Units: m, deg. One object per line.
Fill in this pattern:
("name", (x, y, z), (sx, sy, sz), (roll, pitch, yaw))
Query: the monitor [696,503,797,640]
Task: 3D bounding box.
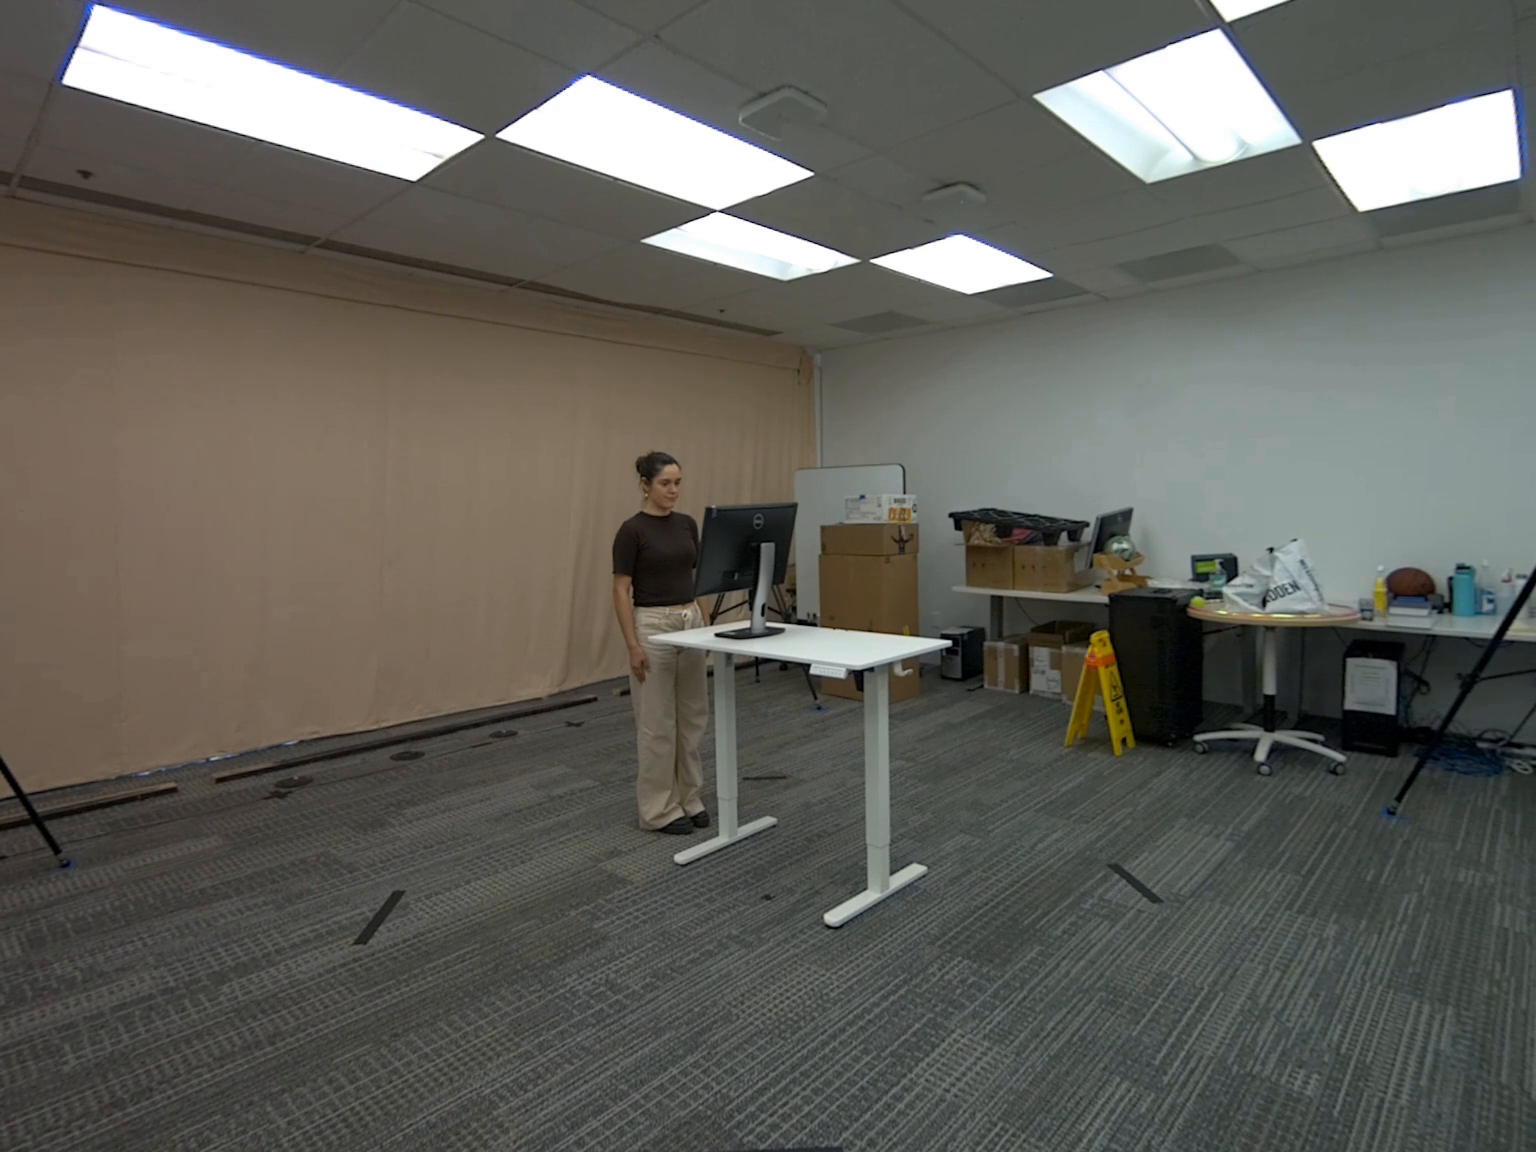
("monitor", (-0.056, -0.020, 3.307), (0.193, 0.521, 0.523), (5, 7, 40))
